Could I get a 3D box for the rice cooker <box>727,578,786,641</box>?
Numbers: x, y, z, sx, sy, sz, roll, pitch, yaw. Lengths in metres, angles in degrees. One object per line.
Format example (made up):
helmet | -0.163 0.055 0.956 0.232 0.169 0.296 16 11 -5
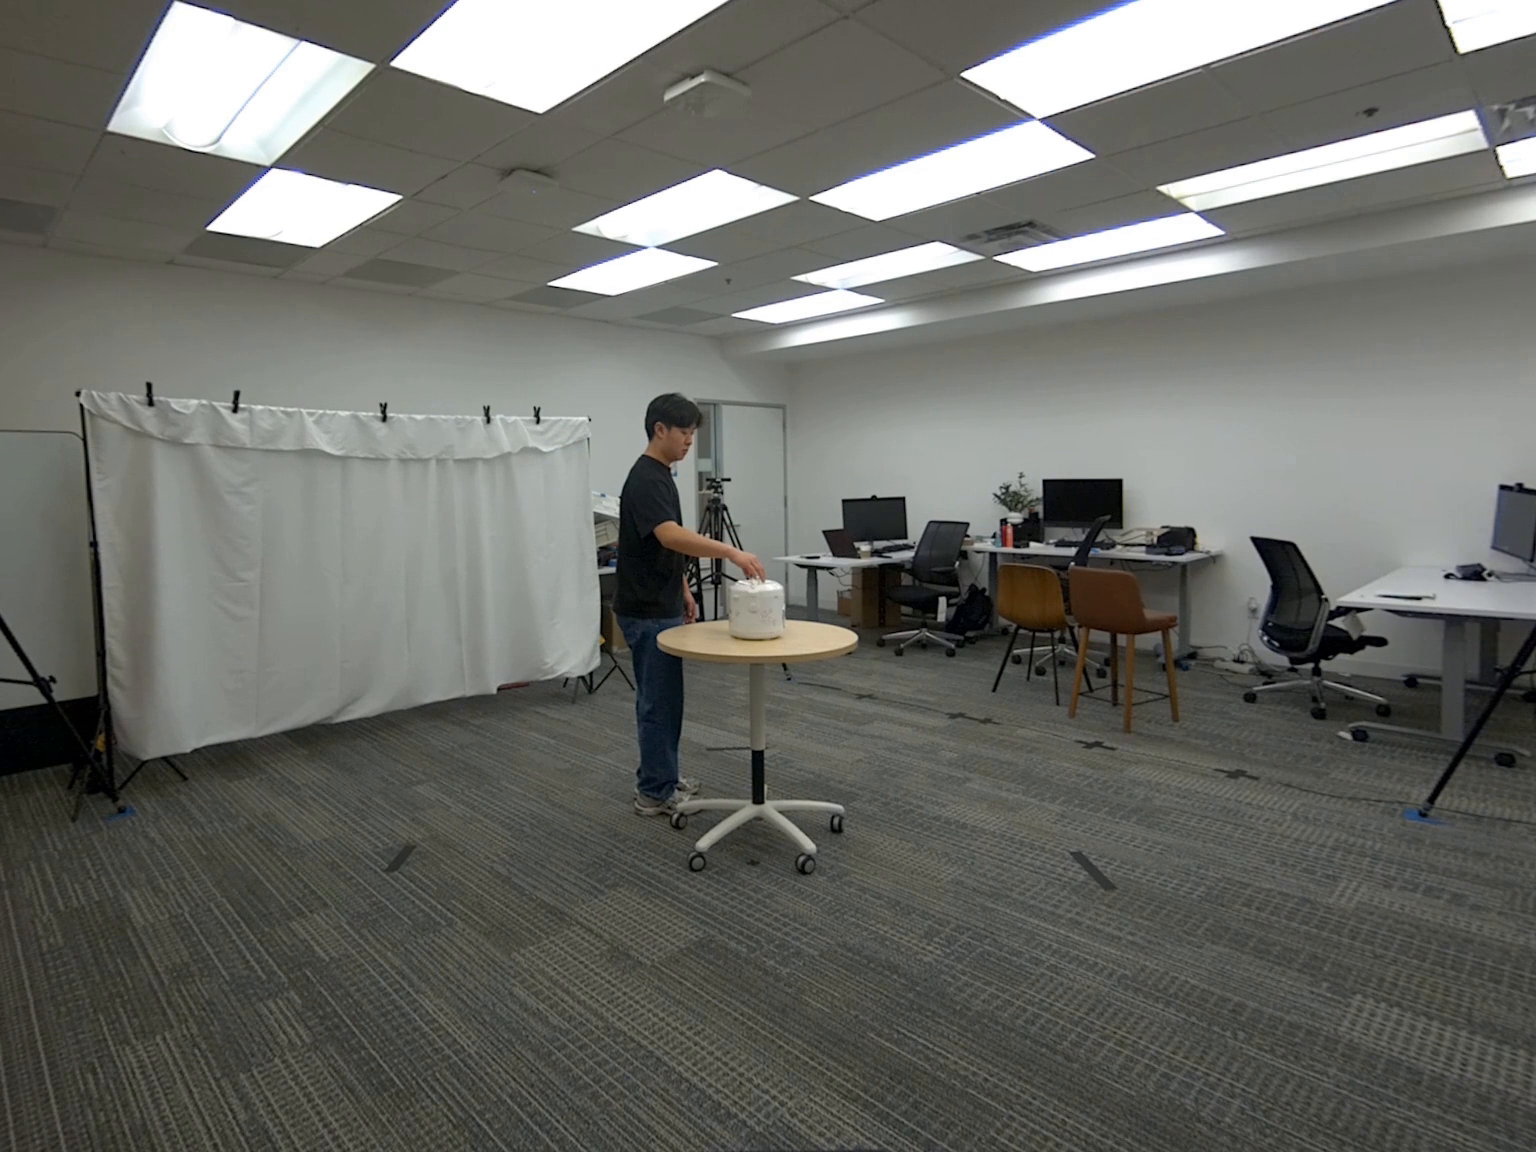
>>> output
rice cooker | -0.042 0.113 3.243 0.219 0.232 0.220 -1 4 7
